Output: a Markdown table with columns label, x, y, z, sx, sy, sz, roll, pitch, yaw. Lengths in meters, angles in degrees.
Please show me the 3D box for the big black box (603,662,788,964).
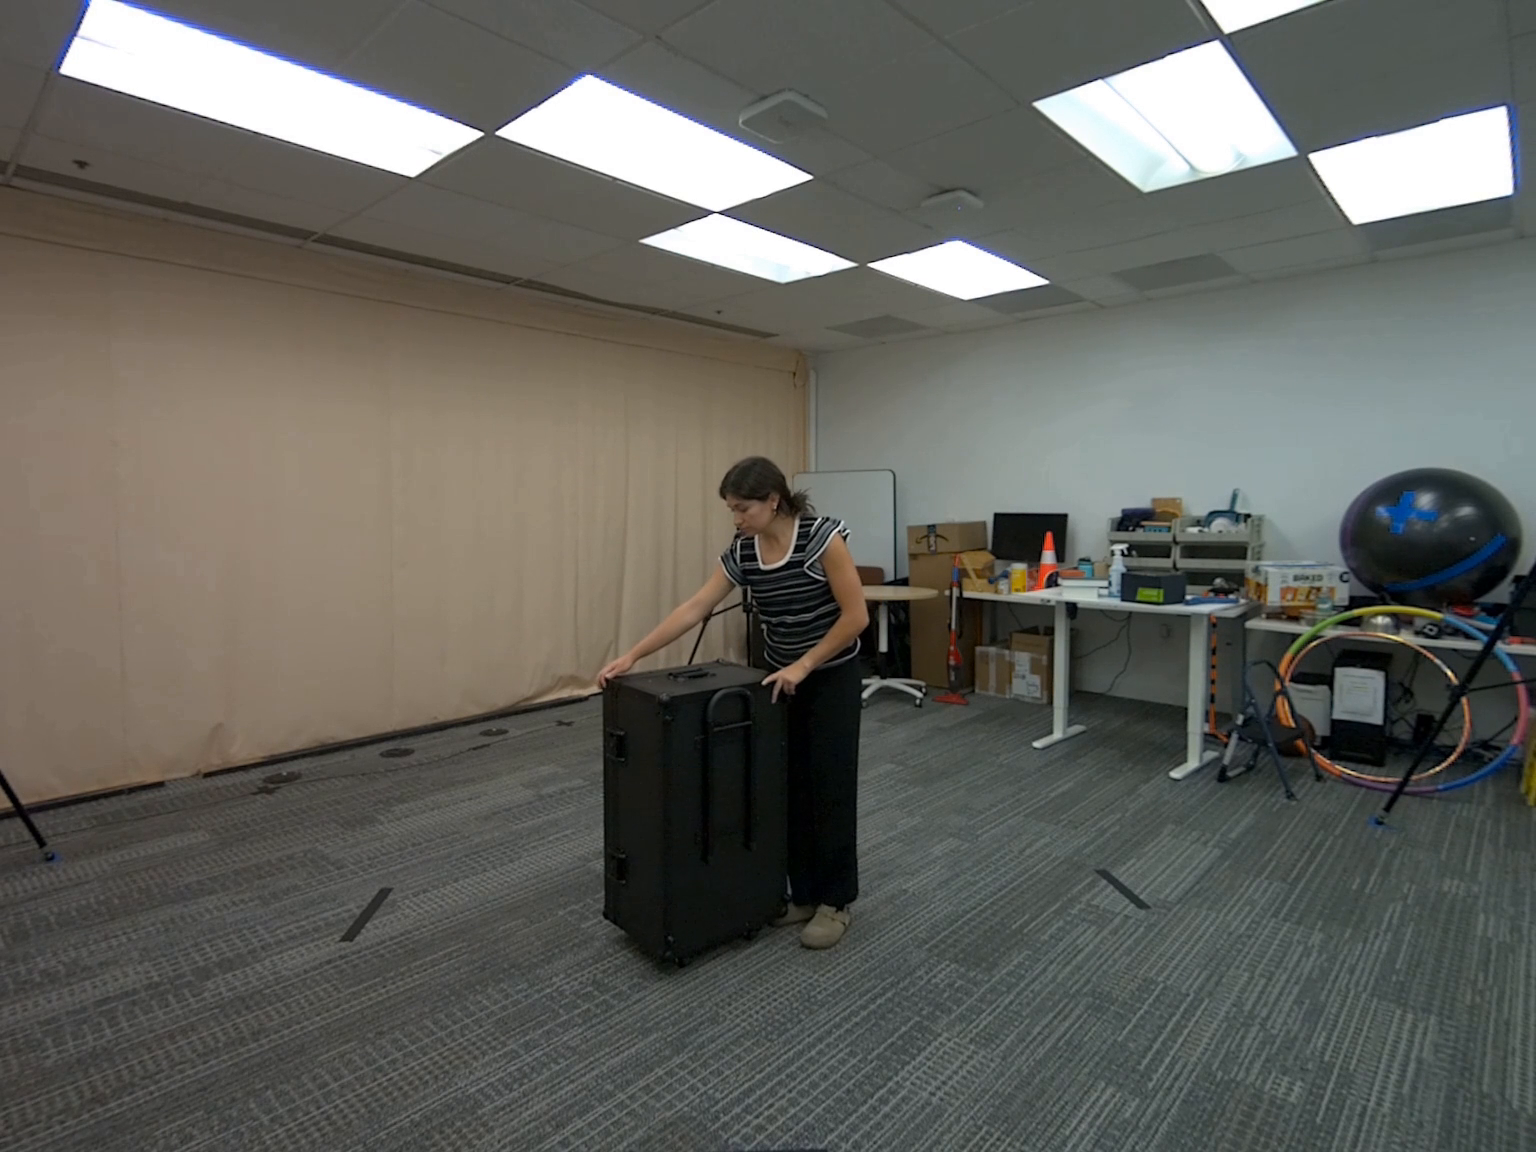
| label | x | y | z | sx | sy | sz | roll | pitch | yaw |
| --- | --- | --- | --- | --- | --- | --- | --- | --- | --- |
| big black box | -0.229 | 0.750 | 2.688 | 0.505 | 0.859 | 0.409 | -2 | 5 | -39 |
